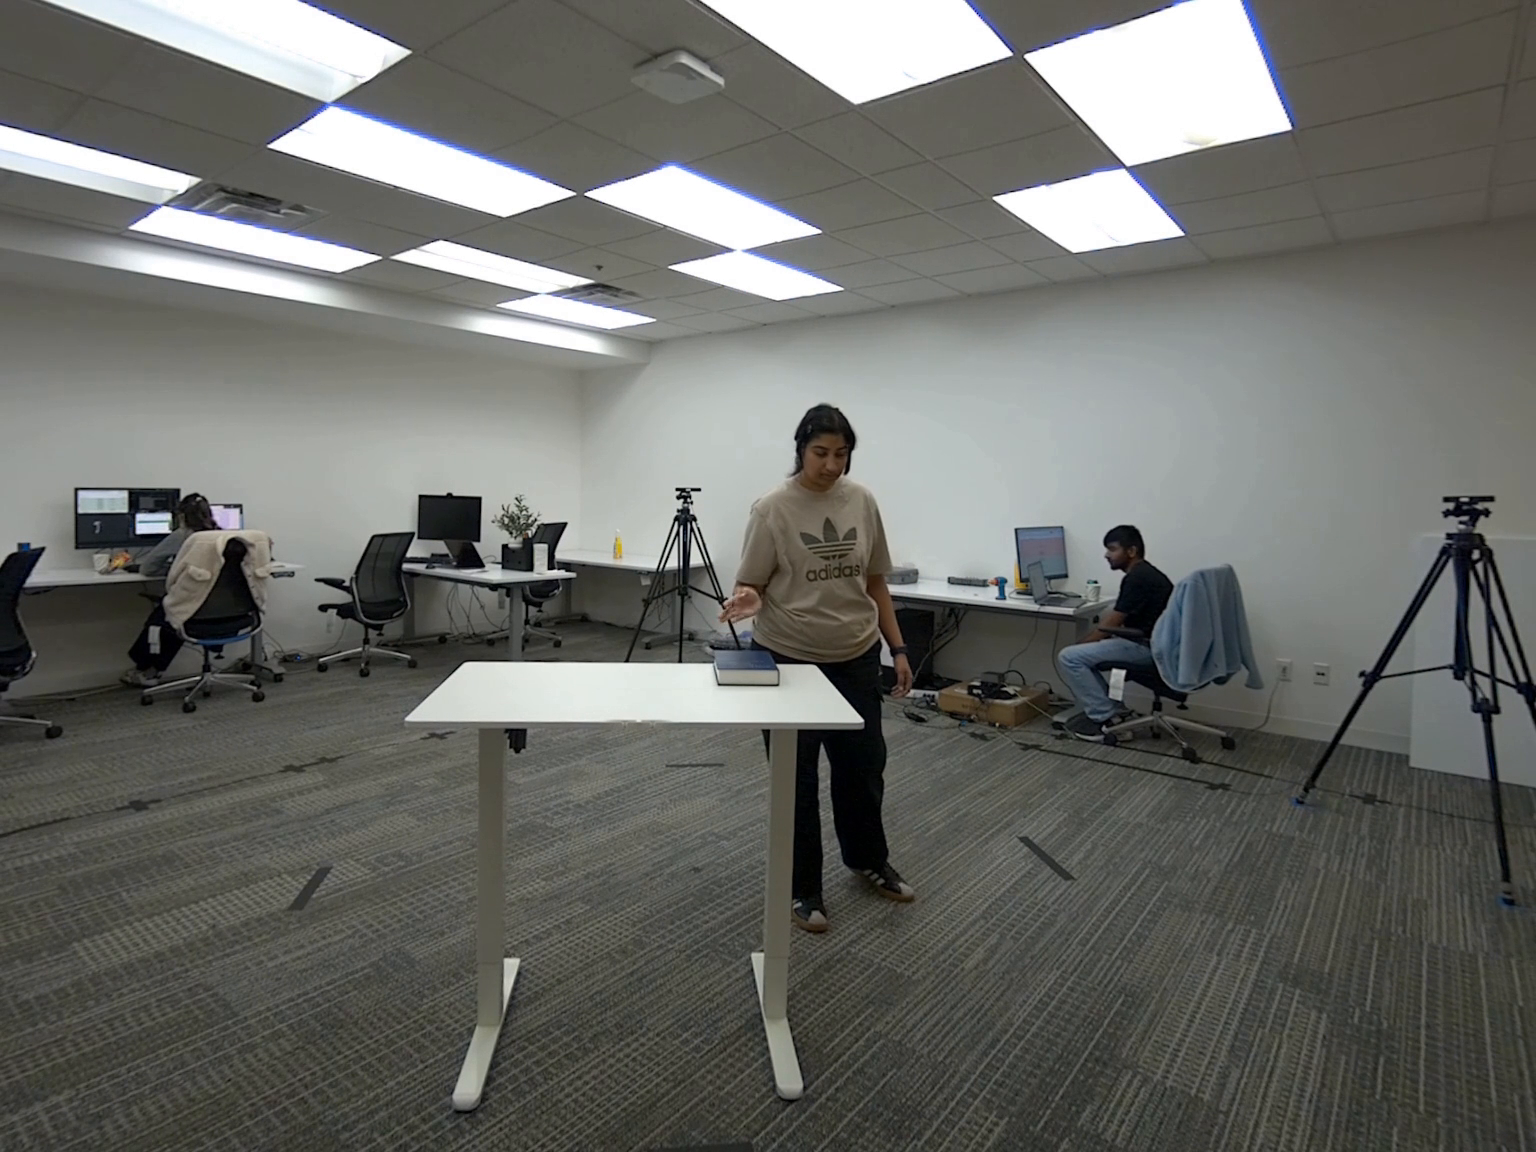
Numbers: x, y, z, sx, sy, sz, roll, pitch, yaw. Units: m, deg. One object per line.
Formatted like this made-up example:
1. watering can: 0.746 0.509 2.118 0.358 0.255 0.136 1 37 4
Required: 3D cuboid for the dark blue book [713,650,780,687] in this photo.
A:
1. dark blue book: -0.074 0.257 2.280 0.163 0.045 0.247 1 6 -5
